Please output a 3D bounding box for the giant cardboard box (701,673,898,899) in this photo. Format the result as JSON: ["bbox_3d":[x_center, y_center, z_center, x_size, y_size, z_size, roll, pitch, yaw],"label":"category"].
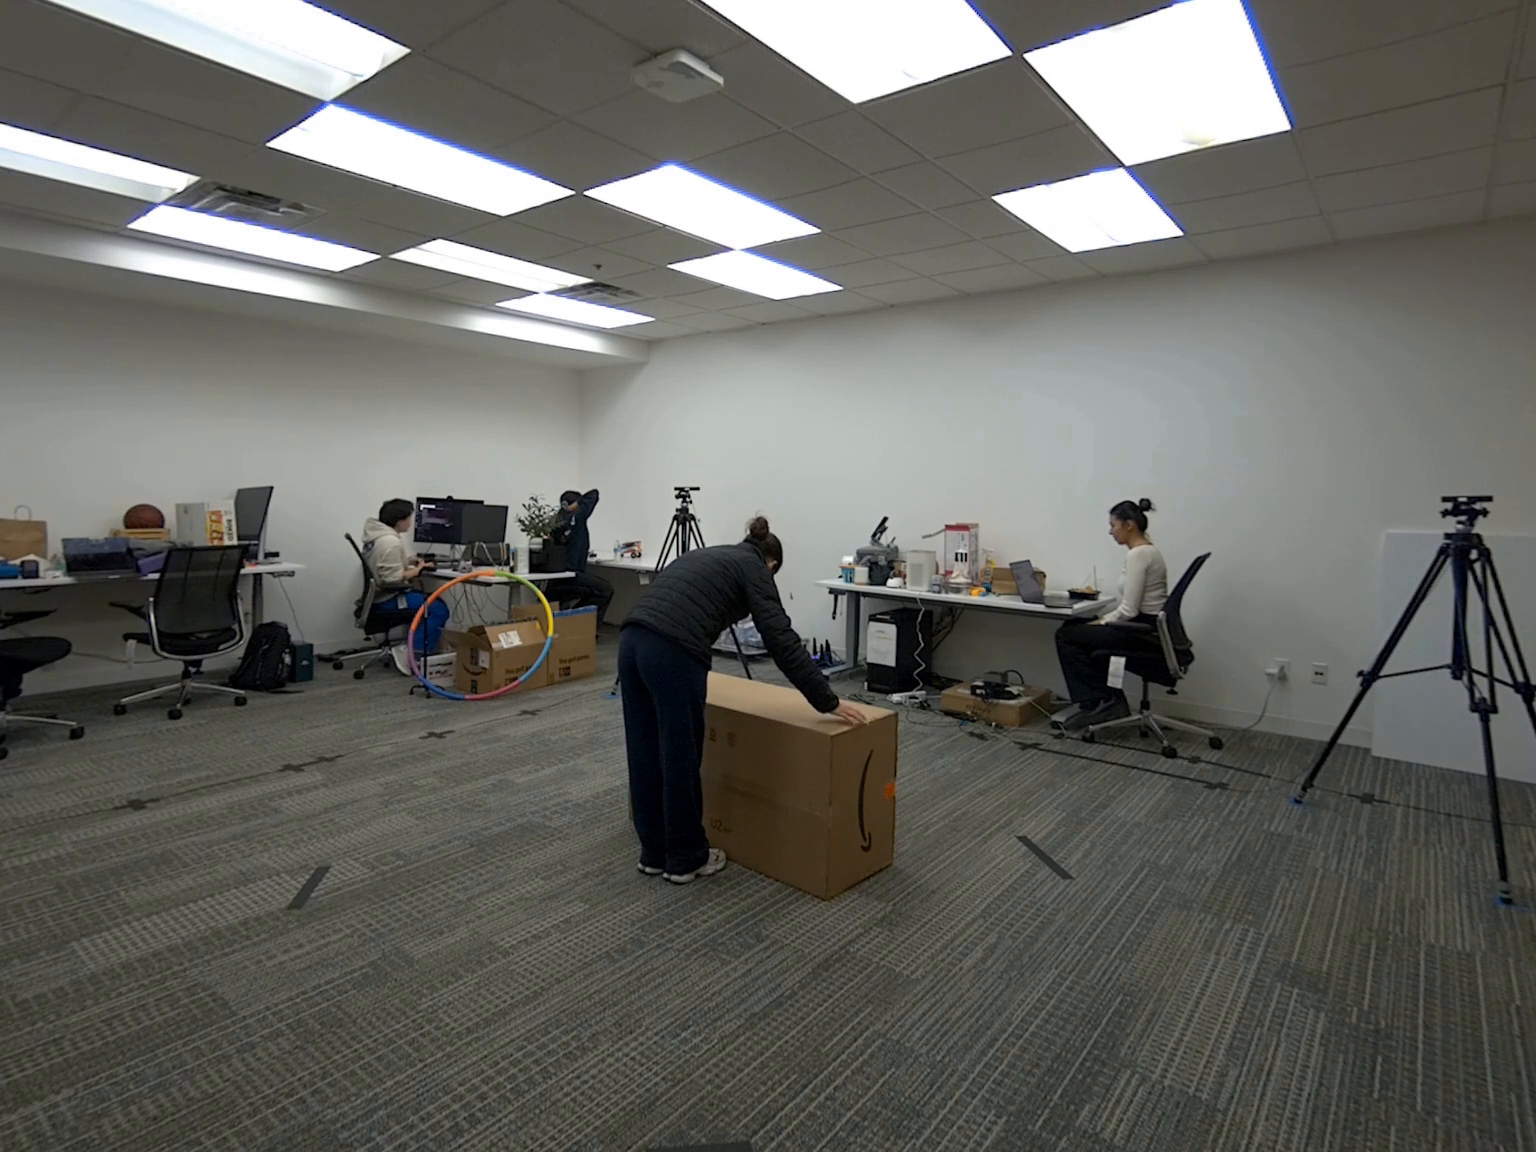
[{"bbox_3d":[-0.032,0.754,3.371,1.062,0.581,0.433,6,7,43],"label":"giant cardboard box"}]
